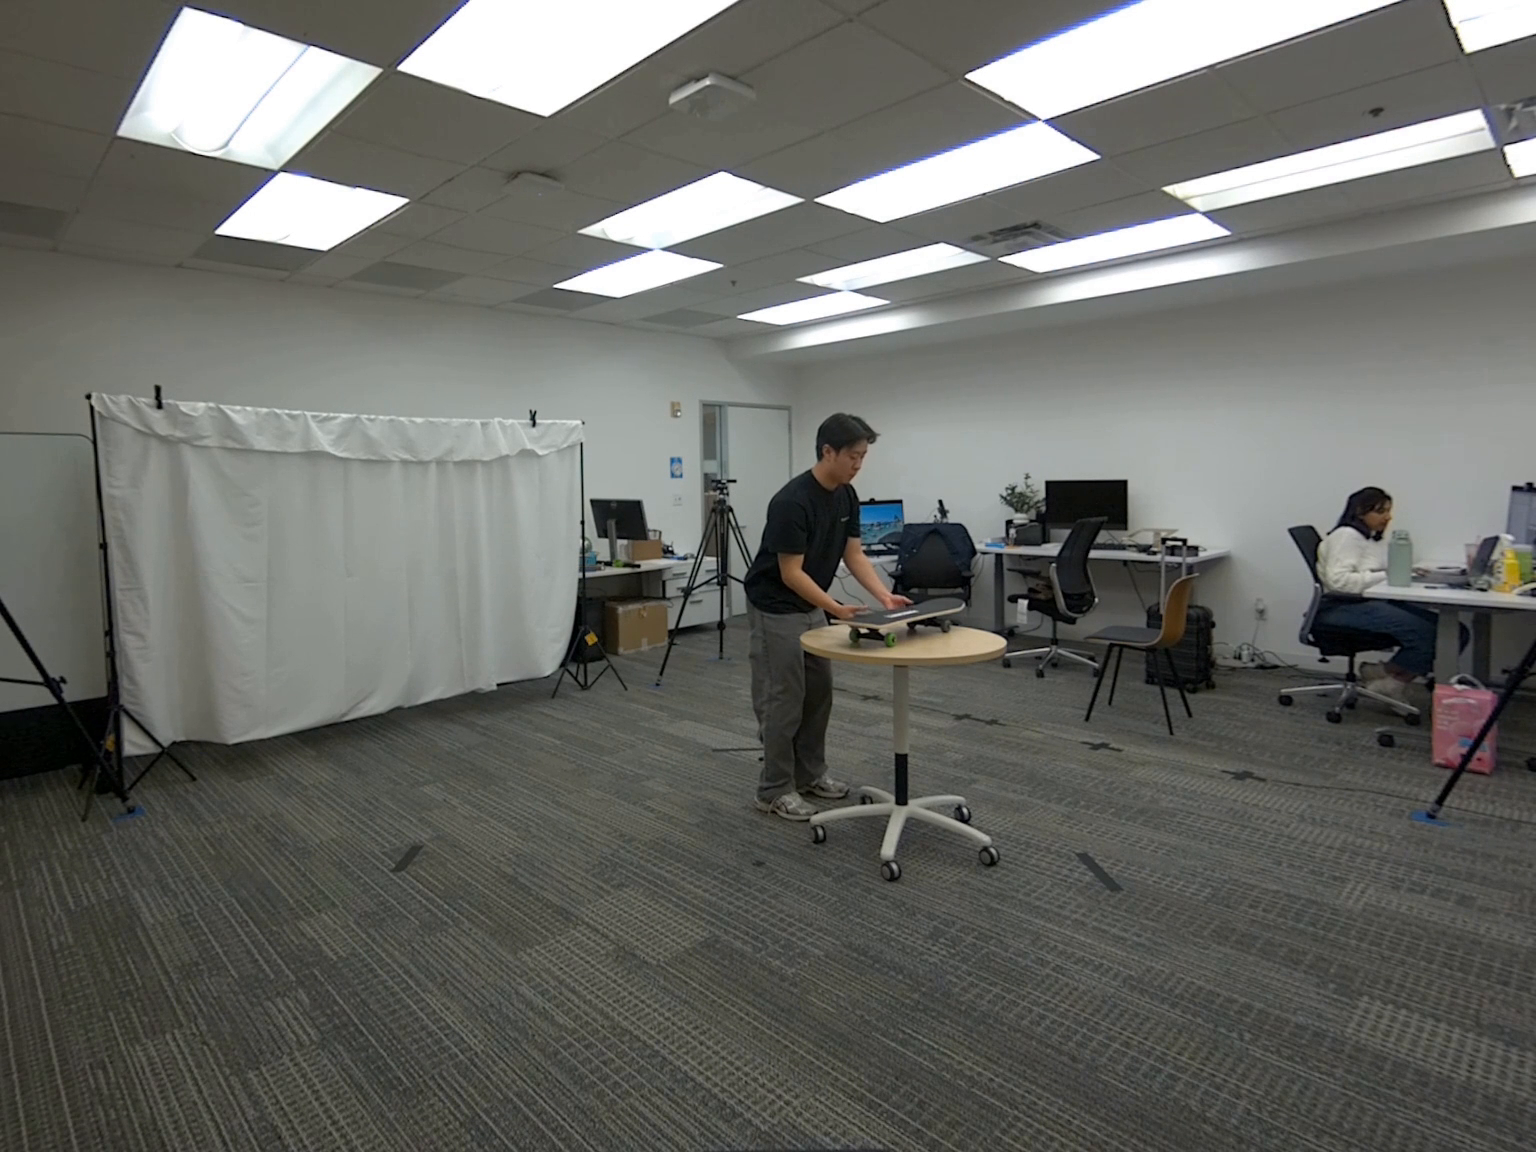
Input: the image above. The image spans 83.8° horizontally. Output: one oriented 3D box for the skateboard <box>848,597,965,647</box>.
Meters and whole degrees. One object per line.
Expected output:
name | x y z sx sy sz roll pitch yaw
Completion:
skateboard | 0.520 0.183 3.267 0.199 0.110 0.765 5 8 43
